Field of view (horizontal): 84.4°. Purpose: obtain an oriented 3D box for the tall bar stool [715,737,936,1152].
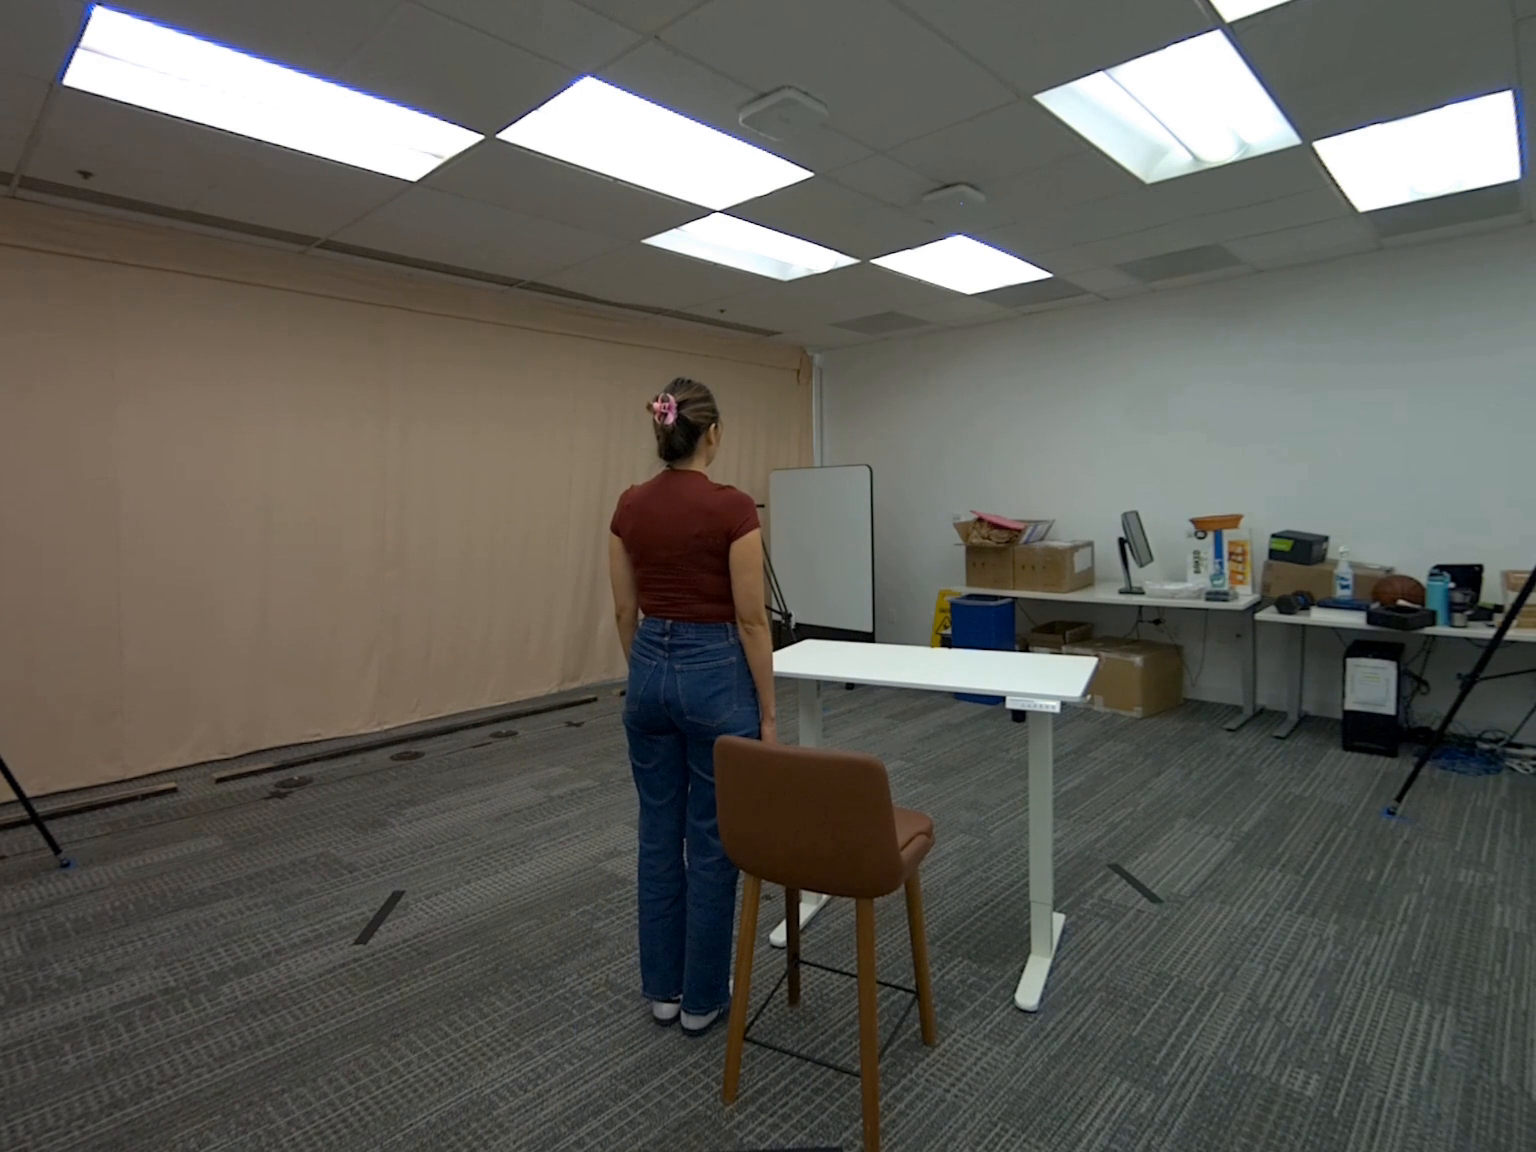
[{"bbox_3d":[0.157,0.783,2.042,0.469,0.887,0.456,2,6,27],"label":"tall bar stool"}]
